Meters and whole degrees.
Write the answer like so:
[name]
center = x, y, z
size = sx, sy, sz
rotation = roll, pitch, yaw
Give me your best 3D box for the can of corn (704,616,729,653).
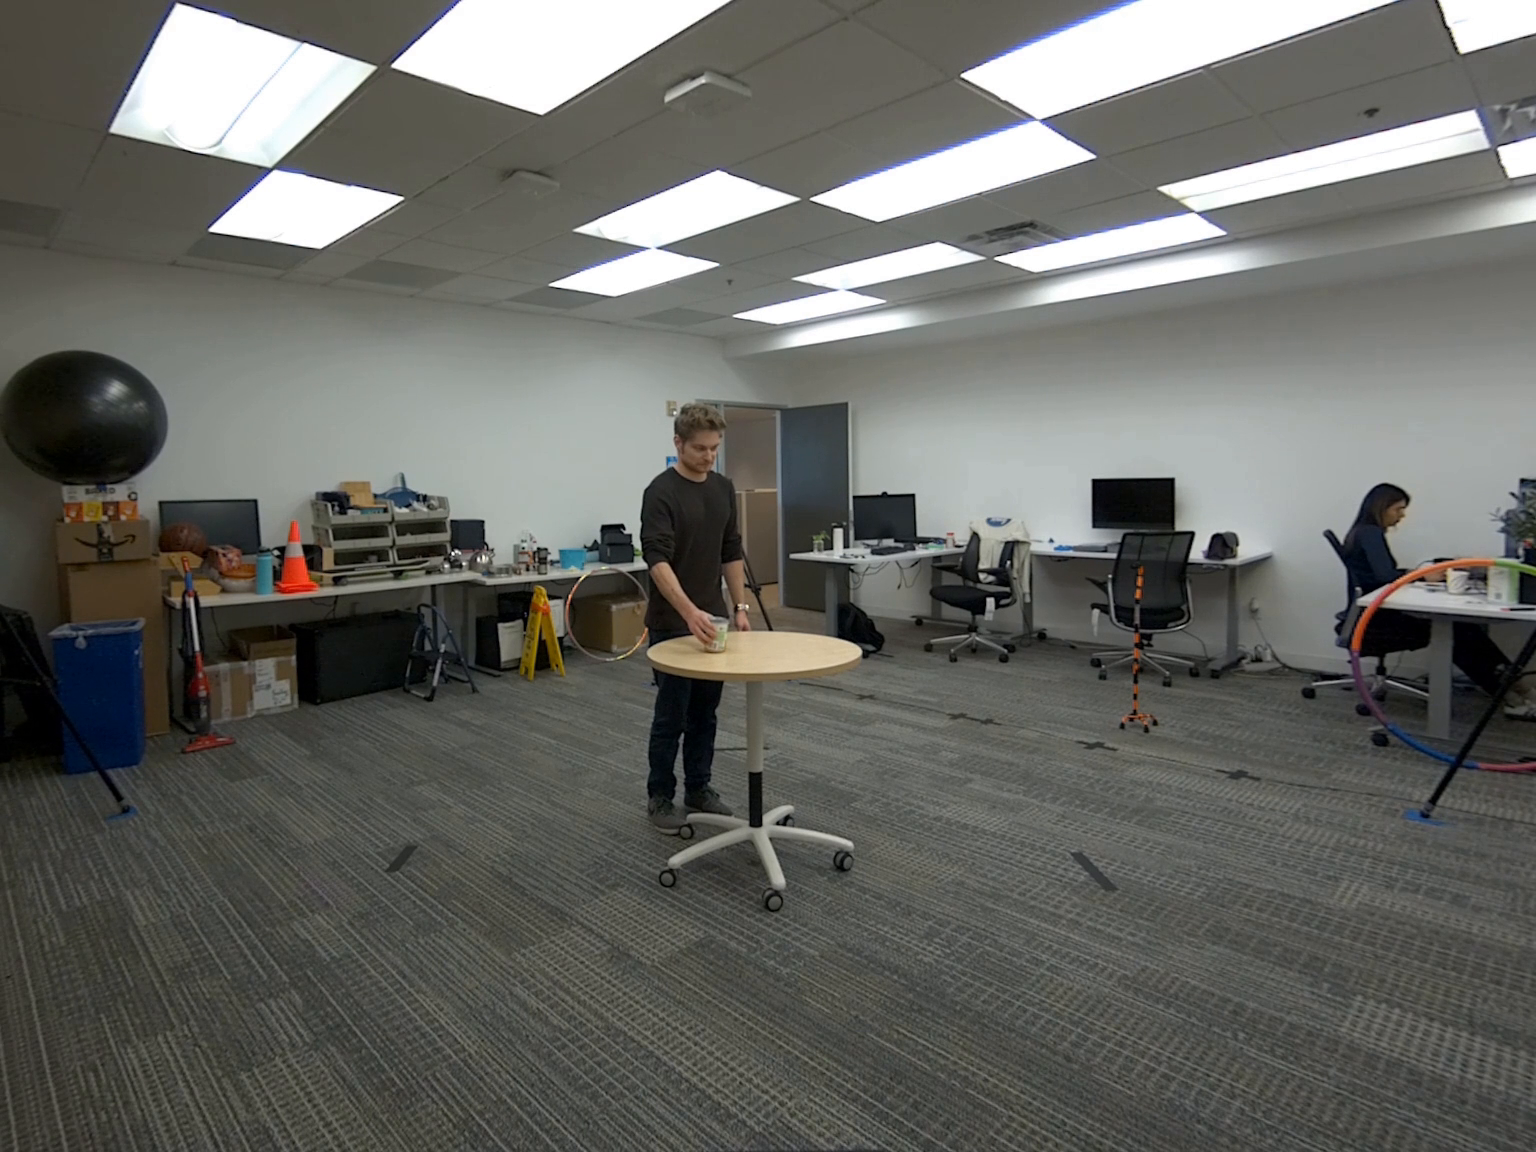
[can of corn]
center = -0.184, 0.216, 3.028
size = 0.074, 0.110, 0.075
rotation = 0, 8, -2
